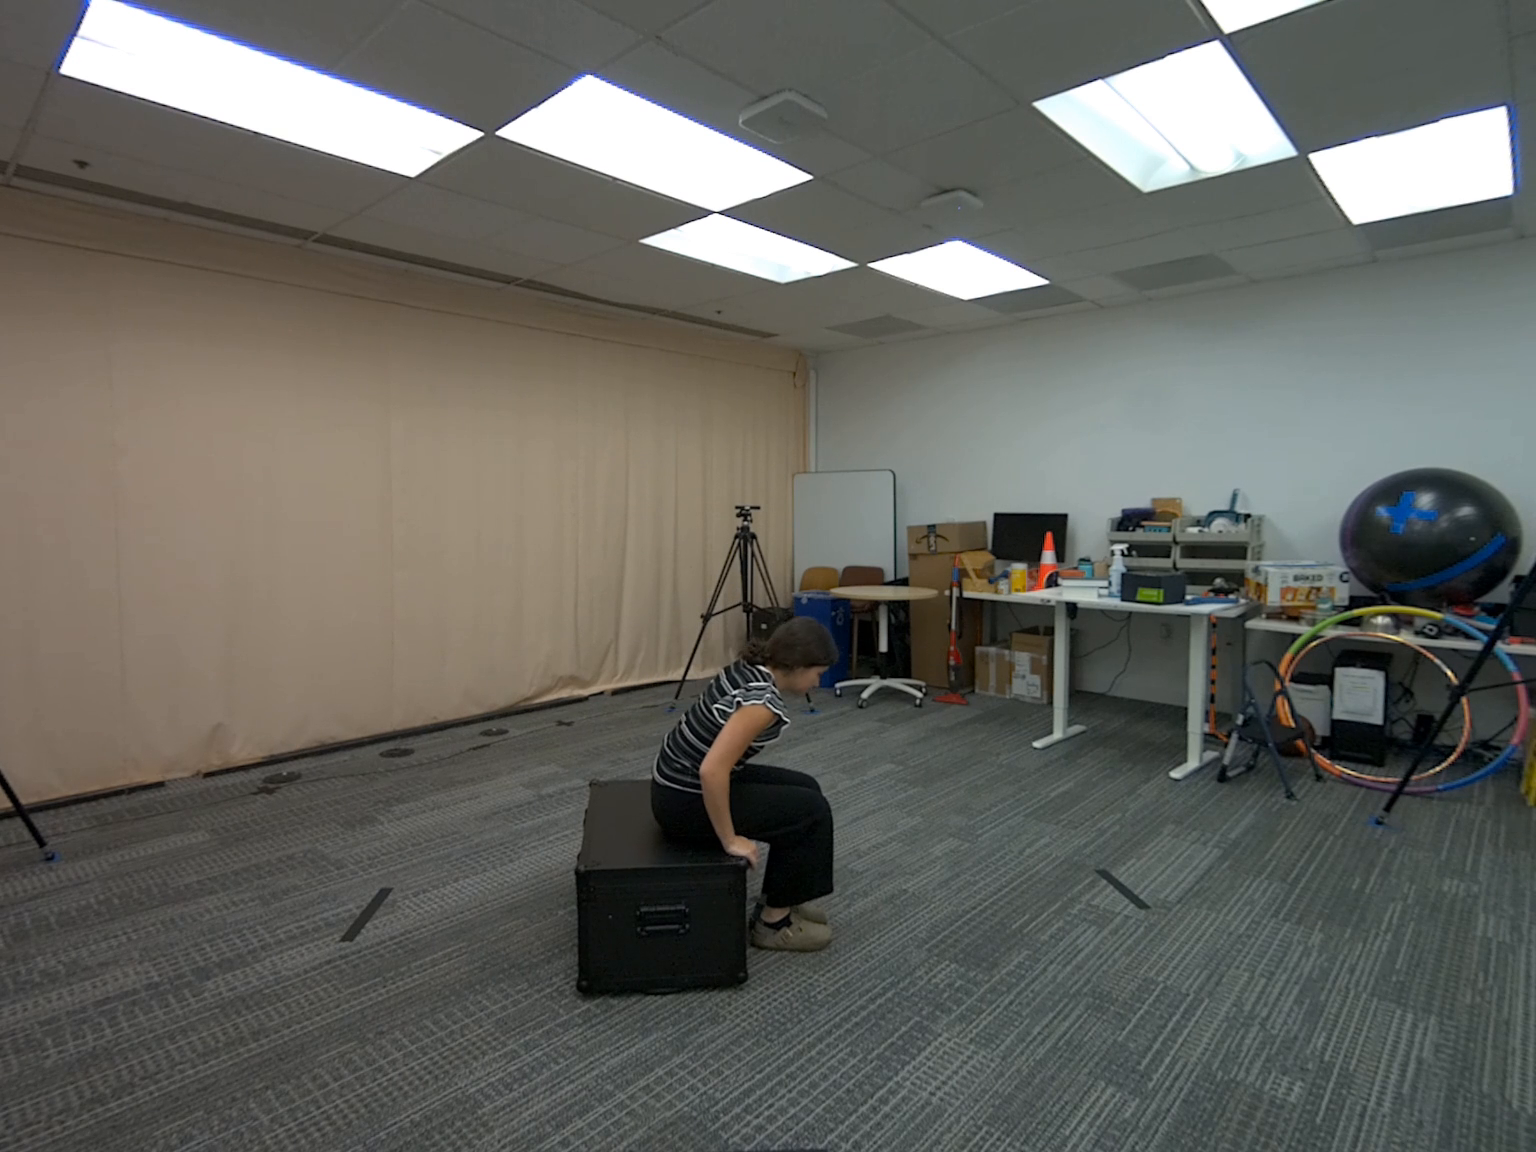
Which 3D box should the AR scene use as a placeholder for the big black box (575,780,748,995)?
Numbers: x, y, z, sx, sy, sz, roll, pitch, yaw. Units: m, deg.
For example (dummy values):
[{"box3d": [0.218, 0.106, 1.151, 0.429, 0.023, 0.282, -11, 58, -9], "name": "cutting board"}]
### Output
[{"box3d": [-0.359, 0.968, 2.804, 0.517, 0.395, 0.871, 0, 4, -9], "name": "big black box"}]
